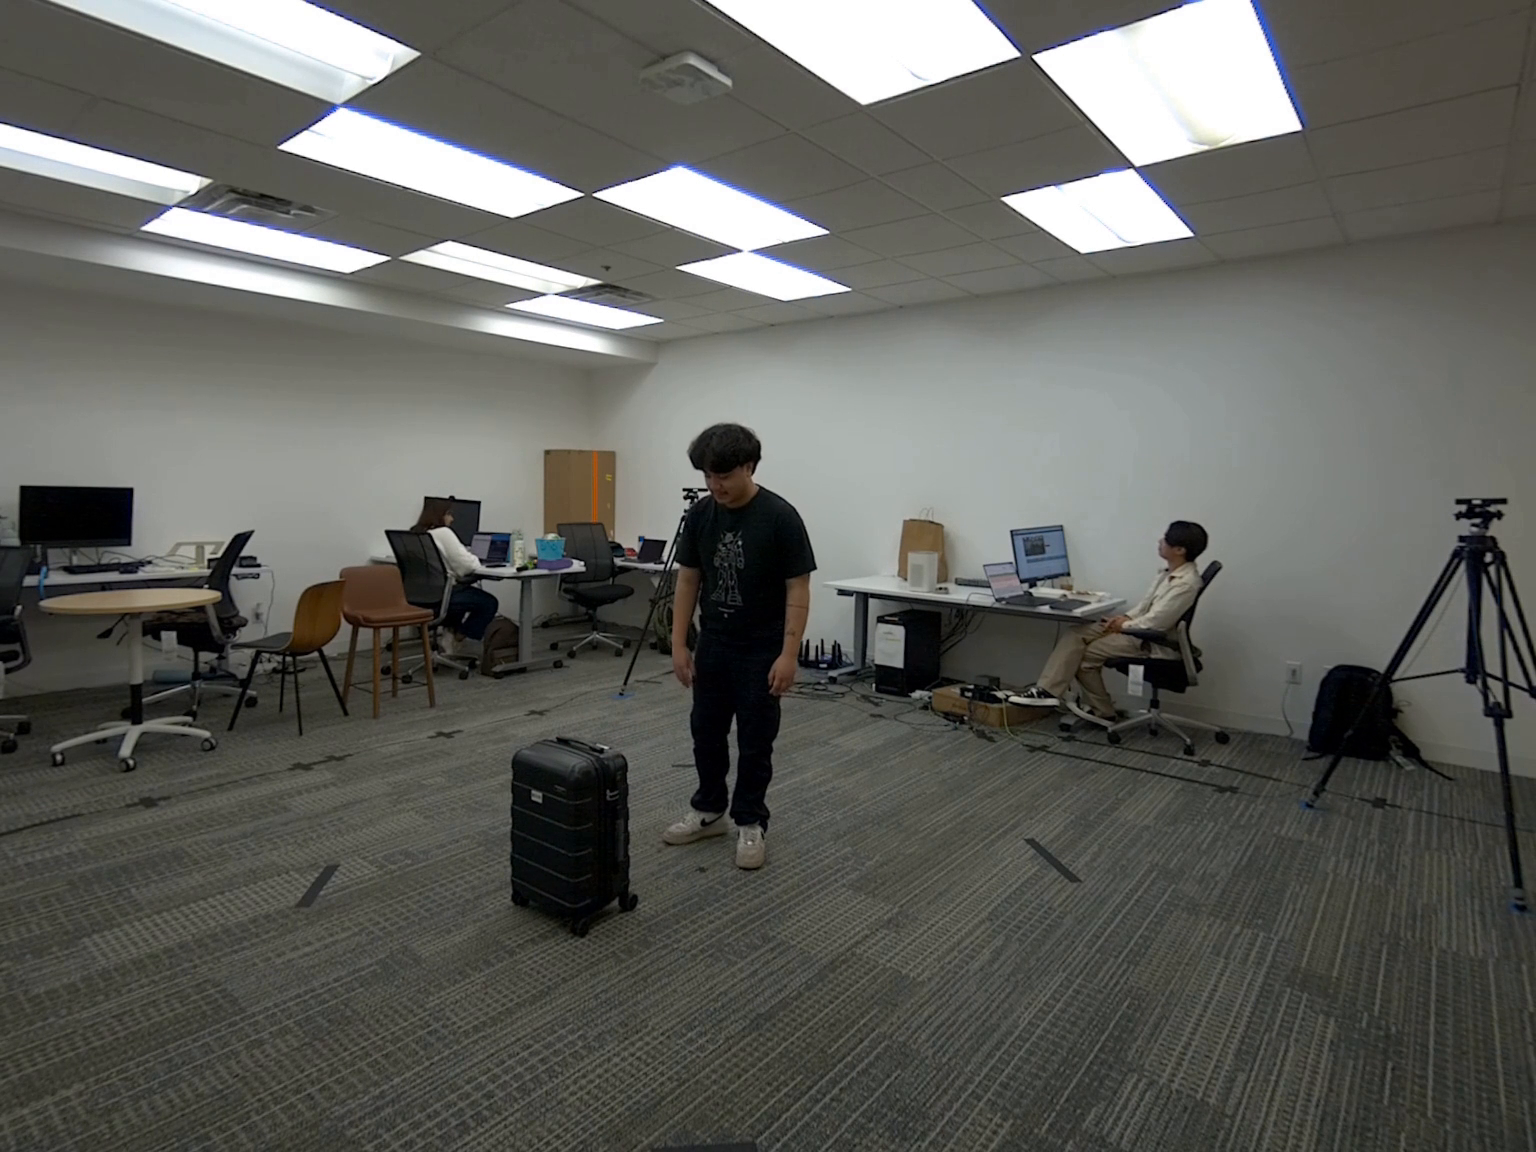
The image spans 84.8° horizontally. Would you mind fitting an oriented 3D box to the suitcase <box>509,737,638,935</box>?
[{"bbox_3d":[-0.655,0.818,2.779,0.388,0.547,0.241,4,7,38],"label":"suitcase"}]
